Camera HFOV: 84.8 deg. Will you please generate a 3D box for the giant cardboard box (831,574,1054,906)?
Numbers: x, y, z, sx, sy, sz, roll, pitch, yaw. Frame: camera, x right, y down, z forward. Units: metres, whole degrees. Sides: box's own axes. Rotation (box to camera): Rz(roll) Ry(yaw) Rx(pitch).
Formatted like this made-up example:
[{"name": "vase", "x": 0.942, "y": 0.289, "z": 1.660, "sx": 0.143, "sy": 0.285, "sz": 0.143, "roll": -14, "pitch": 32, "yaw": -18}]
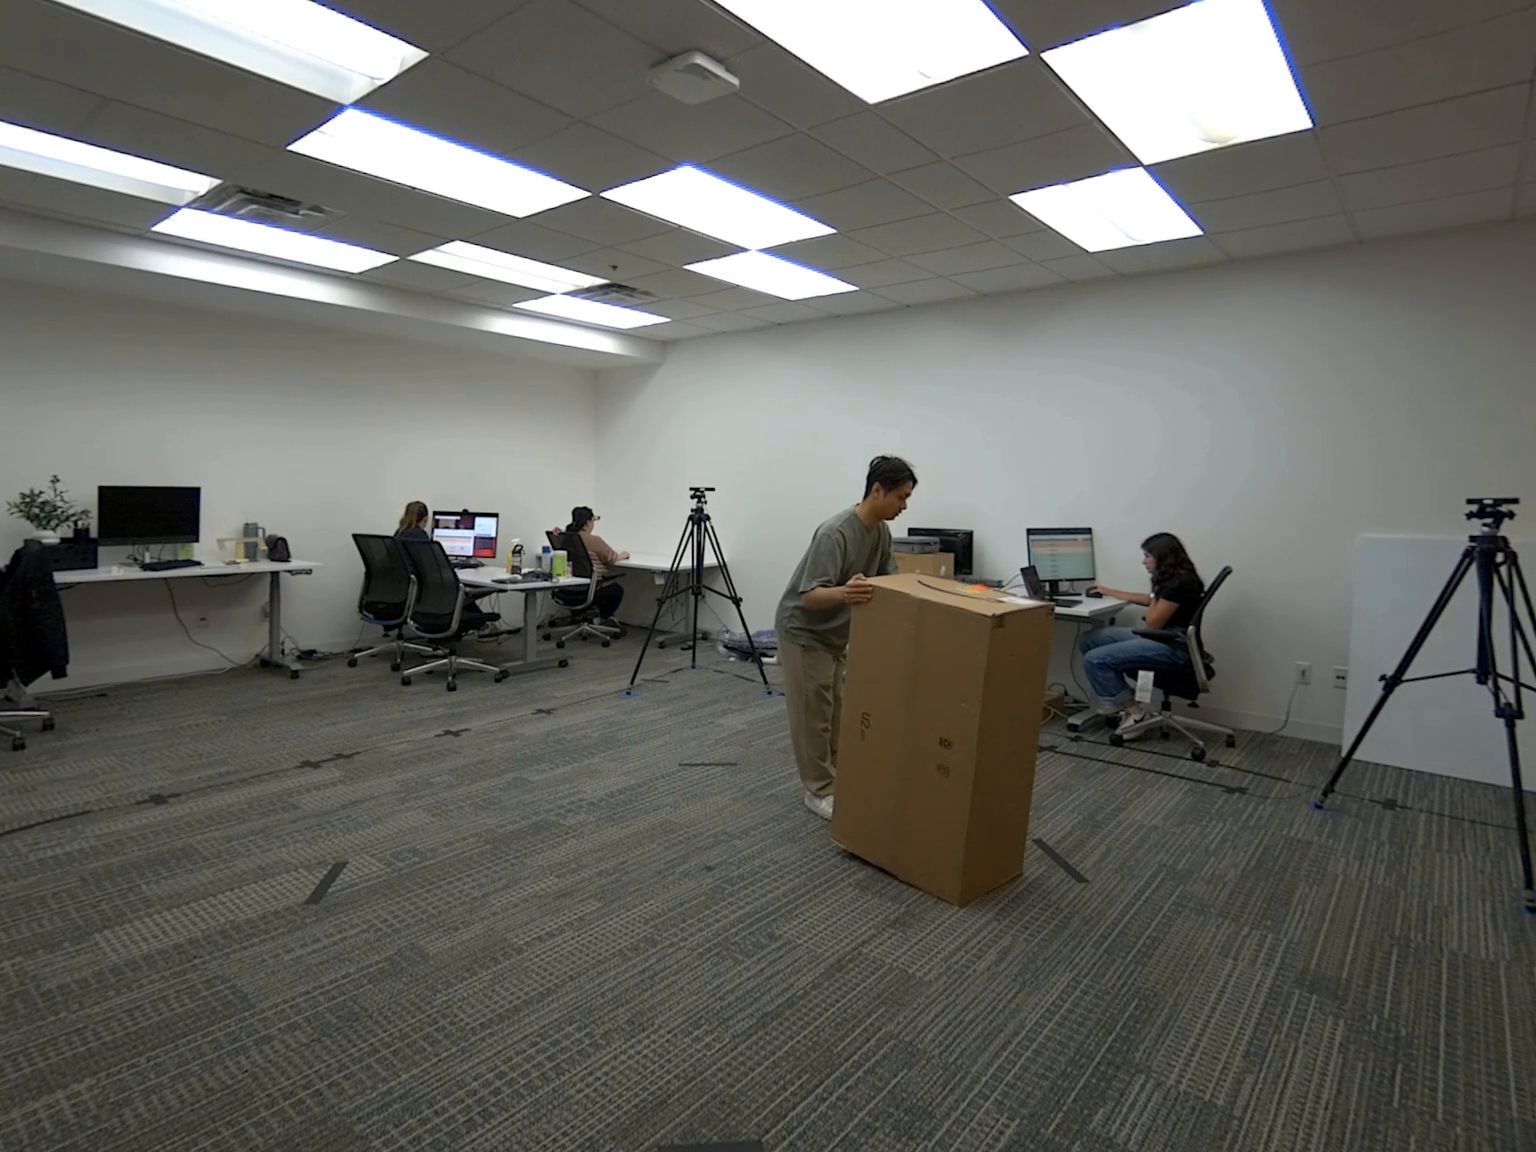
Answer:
[{"name": "giant cardboard box", "x": 0.626, "y": 0.557, "z": 3.138, "sx": 0.413, "sy": 1.019, "sz": 0.599, "roll": -3, "pitch": 11, "yaw": -44}]
